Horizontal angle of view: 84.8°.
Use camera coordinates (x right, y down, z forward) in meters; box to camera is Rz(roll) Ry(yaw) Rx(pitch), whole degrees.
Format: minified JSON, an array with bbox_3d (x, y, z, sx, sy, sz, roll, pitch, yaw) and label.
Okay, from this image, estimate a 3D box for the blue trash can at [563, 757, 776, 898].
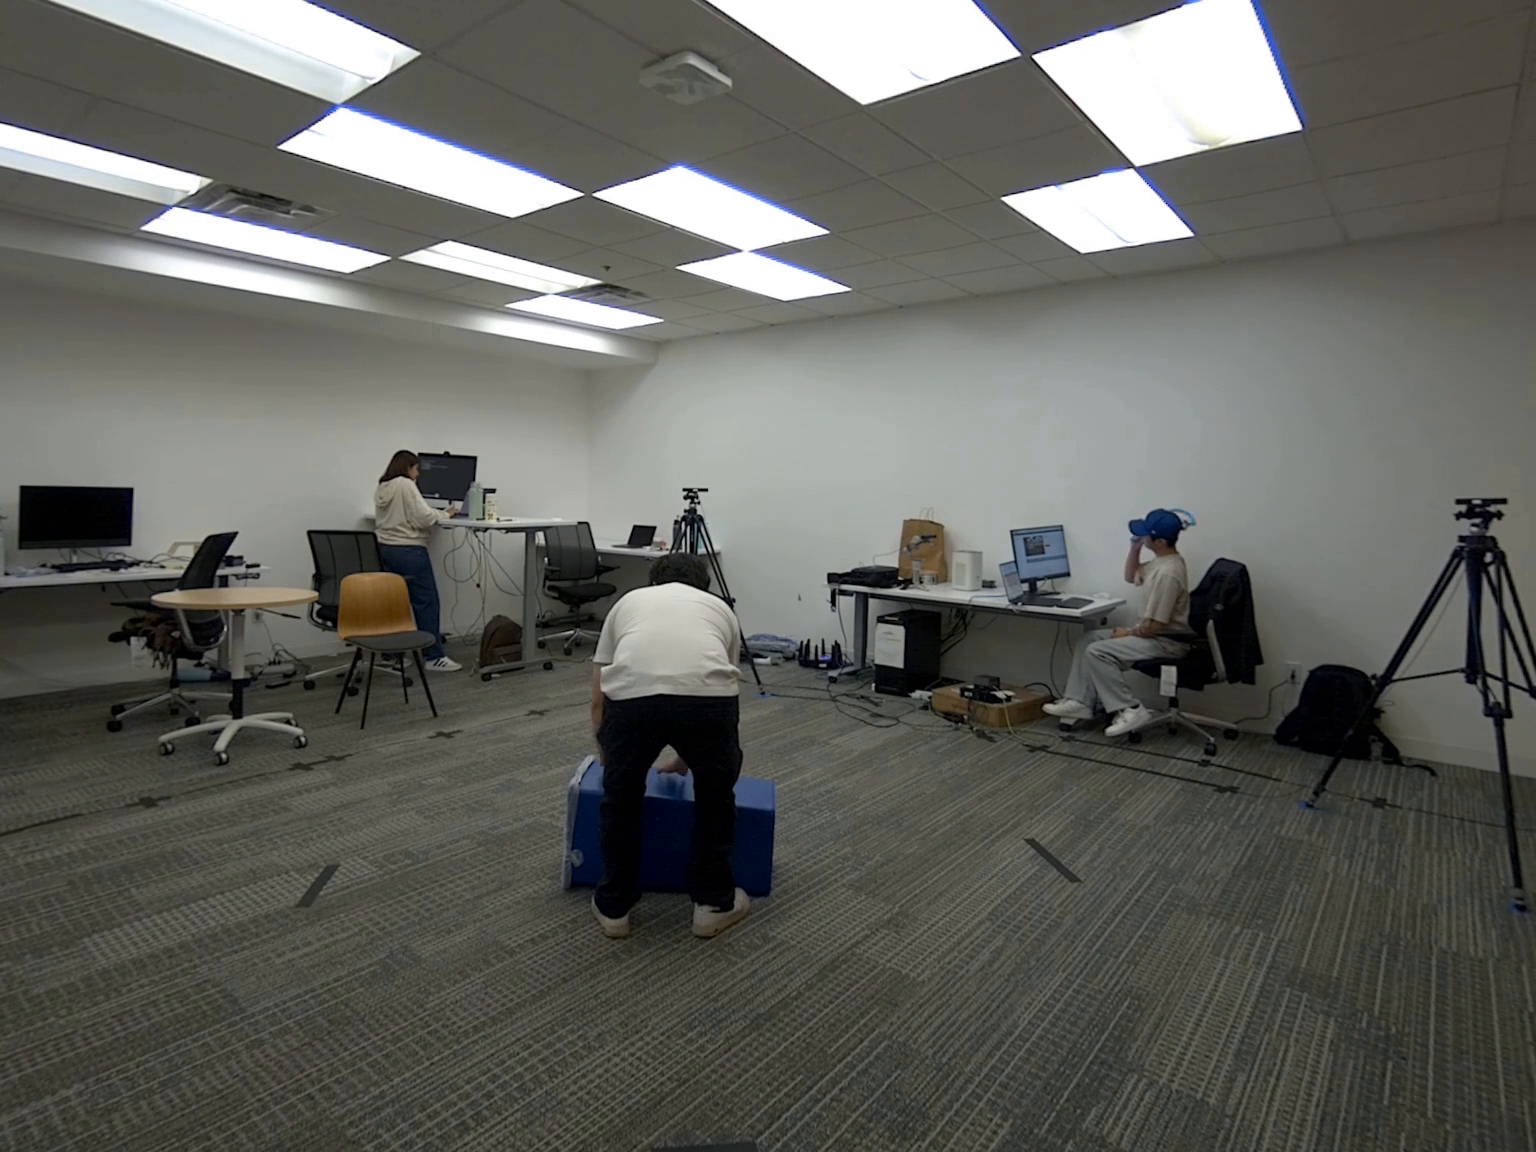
[{"bbox_3d":[-0.352,0.901,3.067,0.716,0.377,0.374,4,3,2],"label":"blue trash can"}]
